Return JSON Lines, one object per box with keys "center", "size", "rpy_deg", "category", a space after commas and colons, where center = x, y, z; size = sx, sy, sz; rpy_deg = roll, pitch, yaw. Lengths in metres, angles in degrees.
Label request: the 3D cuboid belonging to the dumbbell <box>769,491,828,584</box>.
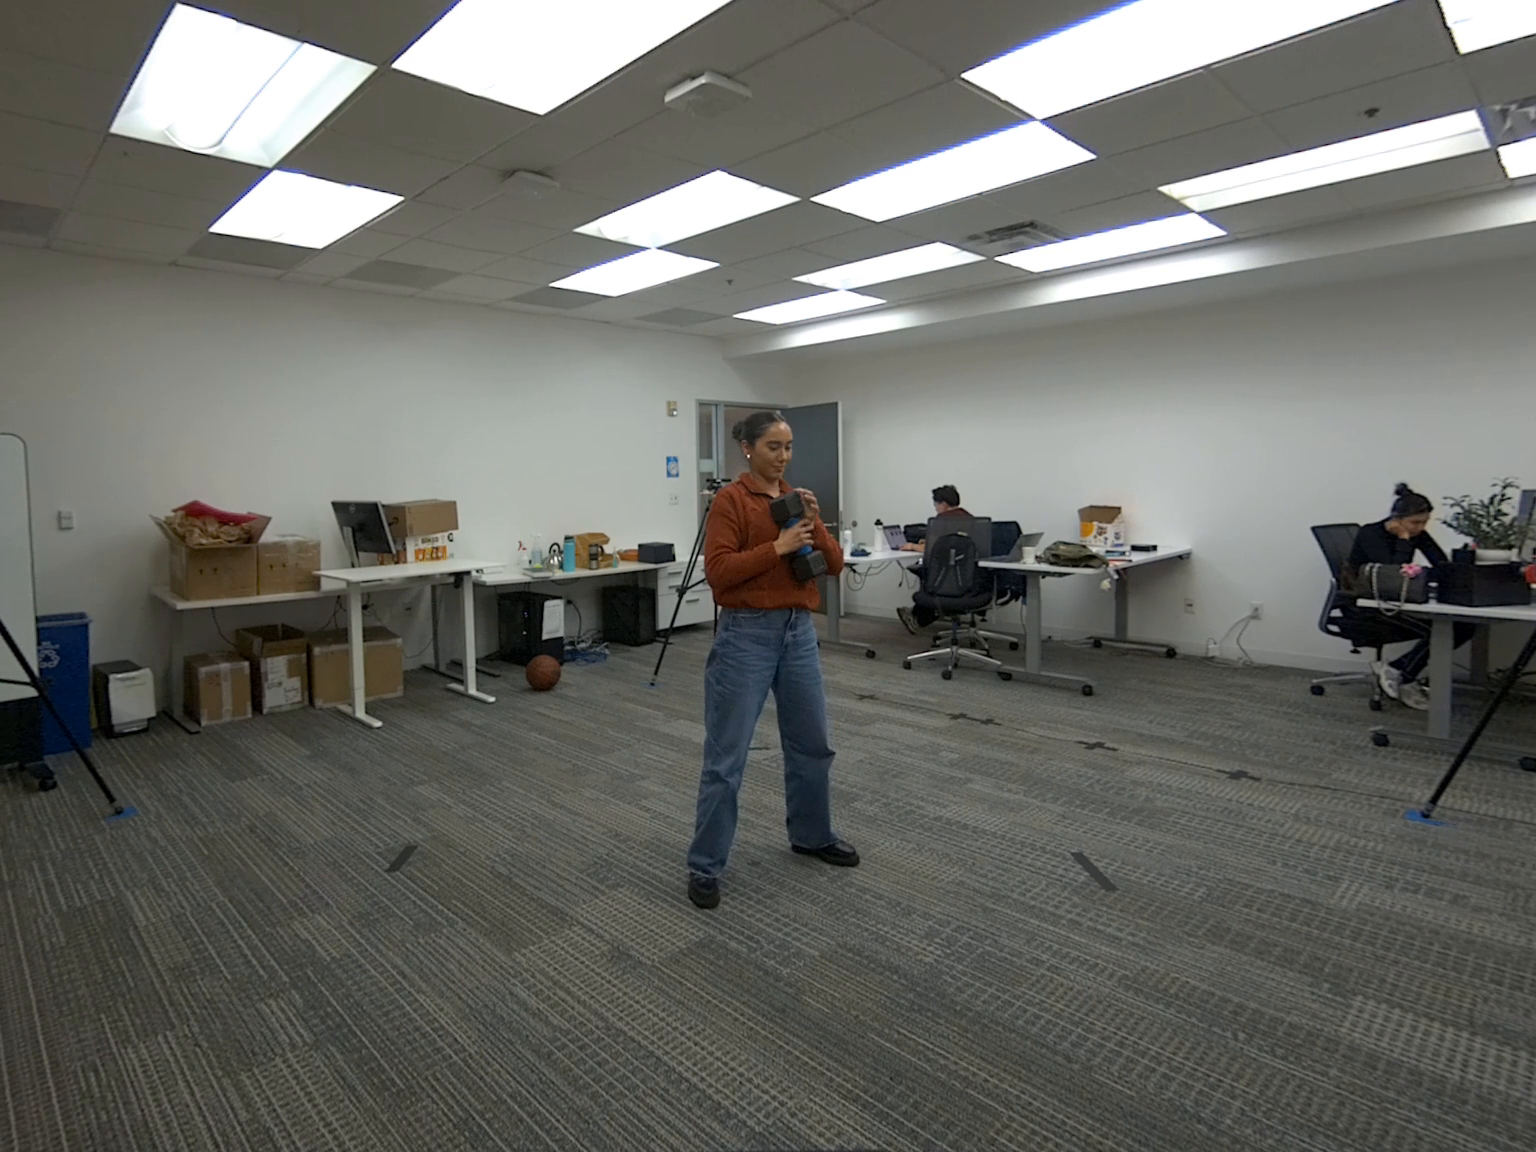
{"center": [0.087, -0.119, 2.852], "size": [0.121, 0.295, 0.110], "rpy_deg": [-24, -3, -32], "category": "dumbbell"}
